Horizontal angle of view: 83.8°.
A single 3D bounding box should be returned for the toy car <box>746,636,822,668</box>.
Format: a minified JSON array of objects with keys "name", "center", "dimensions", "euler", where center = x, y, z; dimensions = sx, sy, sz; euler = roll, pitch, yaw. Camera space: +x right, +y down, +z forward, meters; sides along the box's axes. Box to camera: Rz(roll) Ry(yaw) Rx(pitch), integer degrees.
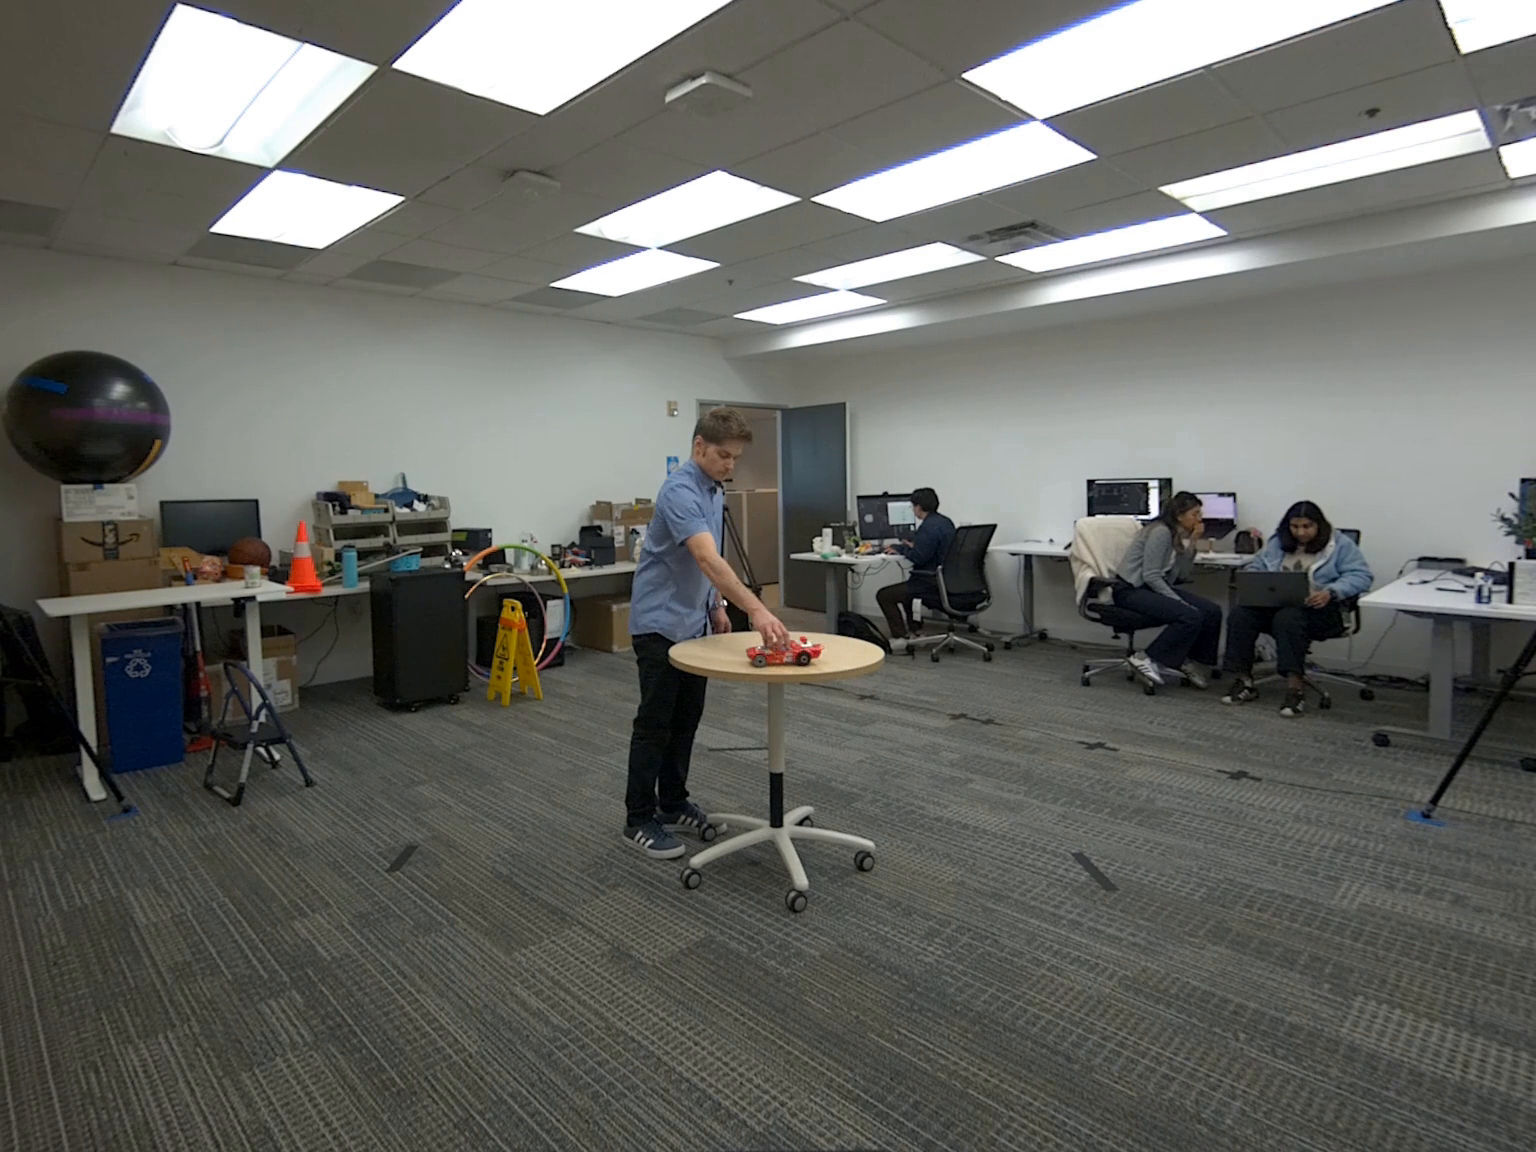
[{"name":"toy car","center":[0.067,0.259,2.835],"dimensions":[0.253,0.083,0.132],"euler":[-13,7,-5]}]
